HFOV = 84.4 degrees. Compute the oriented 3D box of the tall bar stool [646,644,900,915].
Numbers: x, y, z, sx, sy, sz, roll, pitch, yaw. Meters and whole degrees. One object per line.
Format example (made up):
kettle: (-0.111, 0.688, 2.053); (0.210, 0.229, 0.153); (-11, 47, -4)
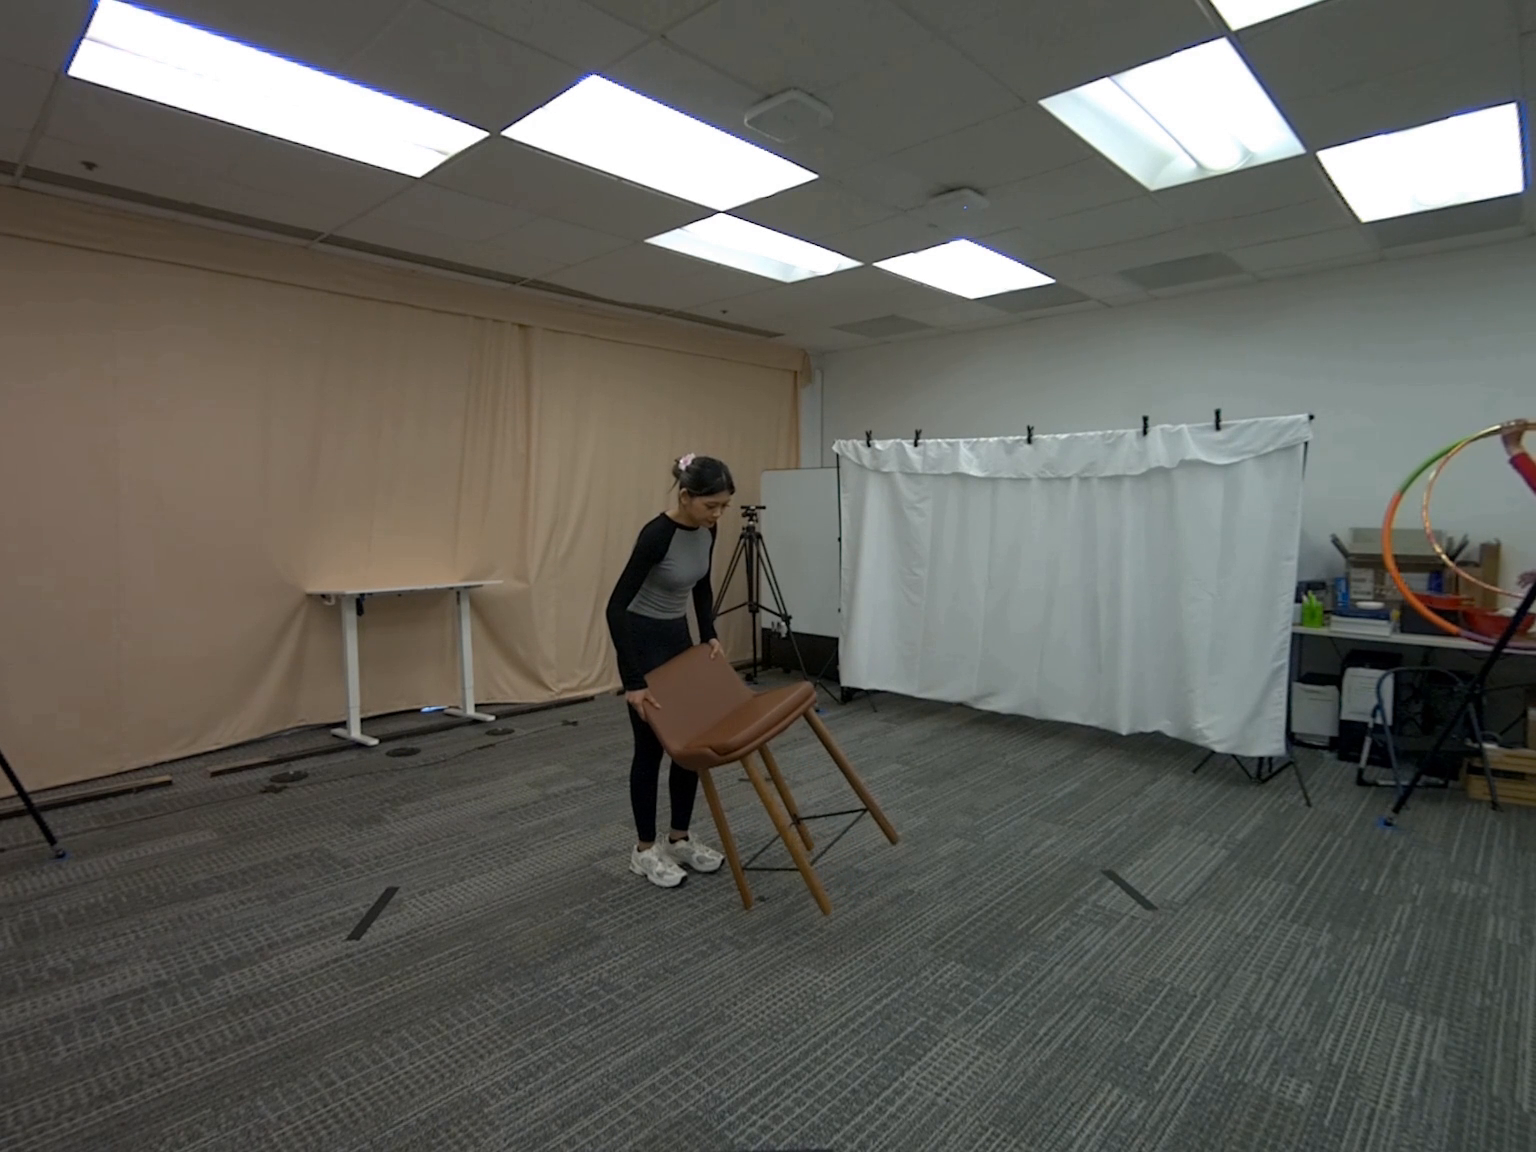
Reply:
tall bar stool: (-0.019, 0.640, 2.871); (0.447, 0.892, 0.476); (-26, -3, -40)
